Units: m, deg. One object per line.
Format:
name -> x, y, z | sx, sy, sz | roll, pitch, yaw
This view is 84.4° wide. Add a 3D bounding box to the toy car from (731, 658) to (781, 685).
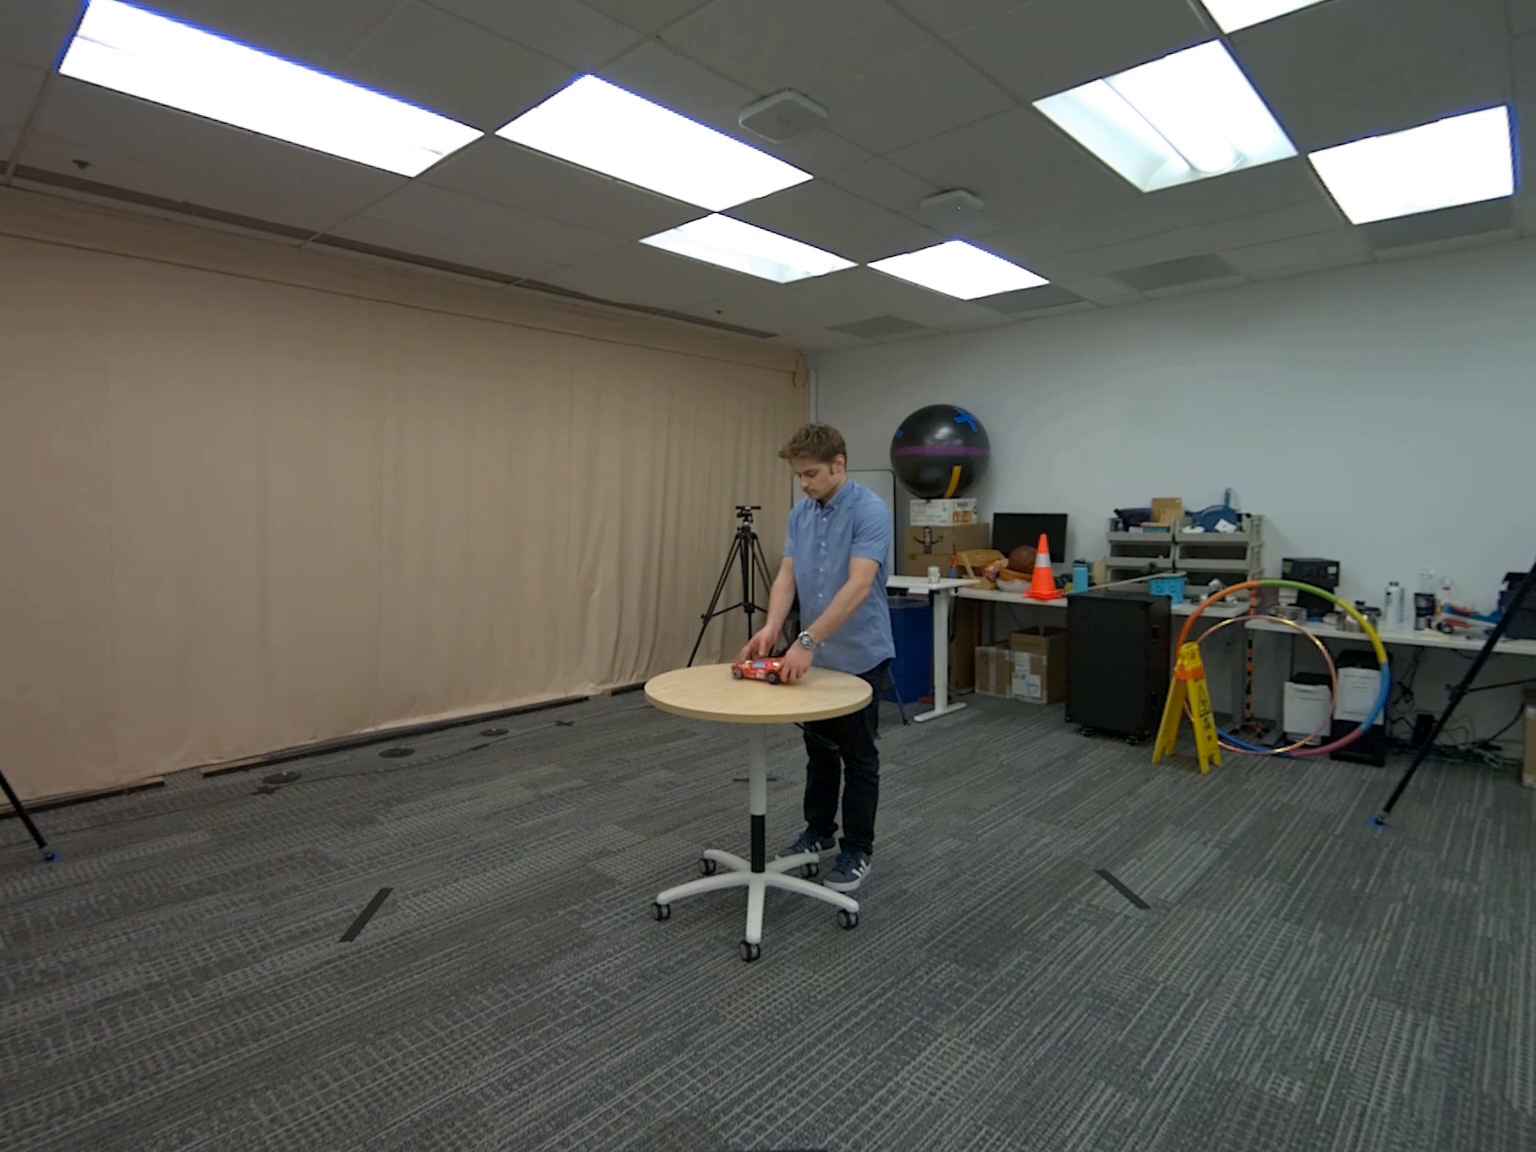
toy car -> 0.002, 0.333, 2.935 | 0.261, 0.083, 0.126 | -9, -2, 34
